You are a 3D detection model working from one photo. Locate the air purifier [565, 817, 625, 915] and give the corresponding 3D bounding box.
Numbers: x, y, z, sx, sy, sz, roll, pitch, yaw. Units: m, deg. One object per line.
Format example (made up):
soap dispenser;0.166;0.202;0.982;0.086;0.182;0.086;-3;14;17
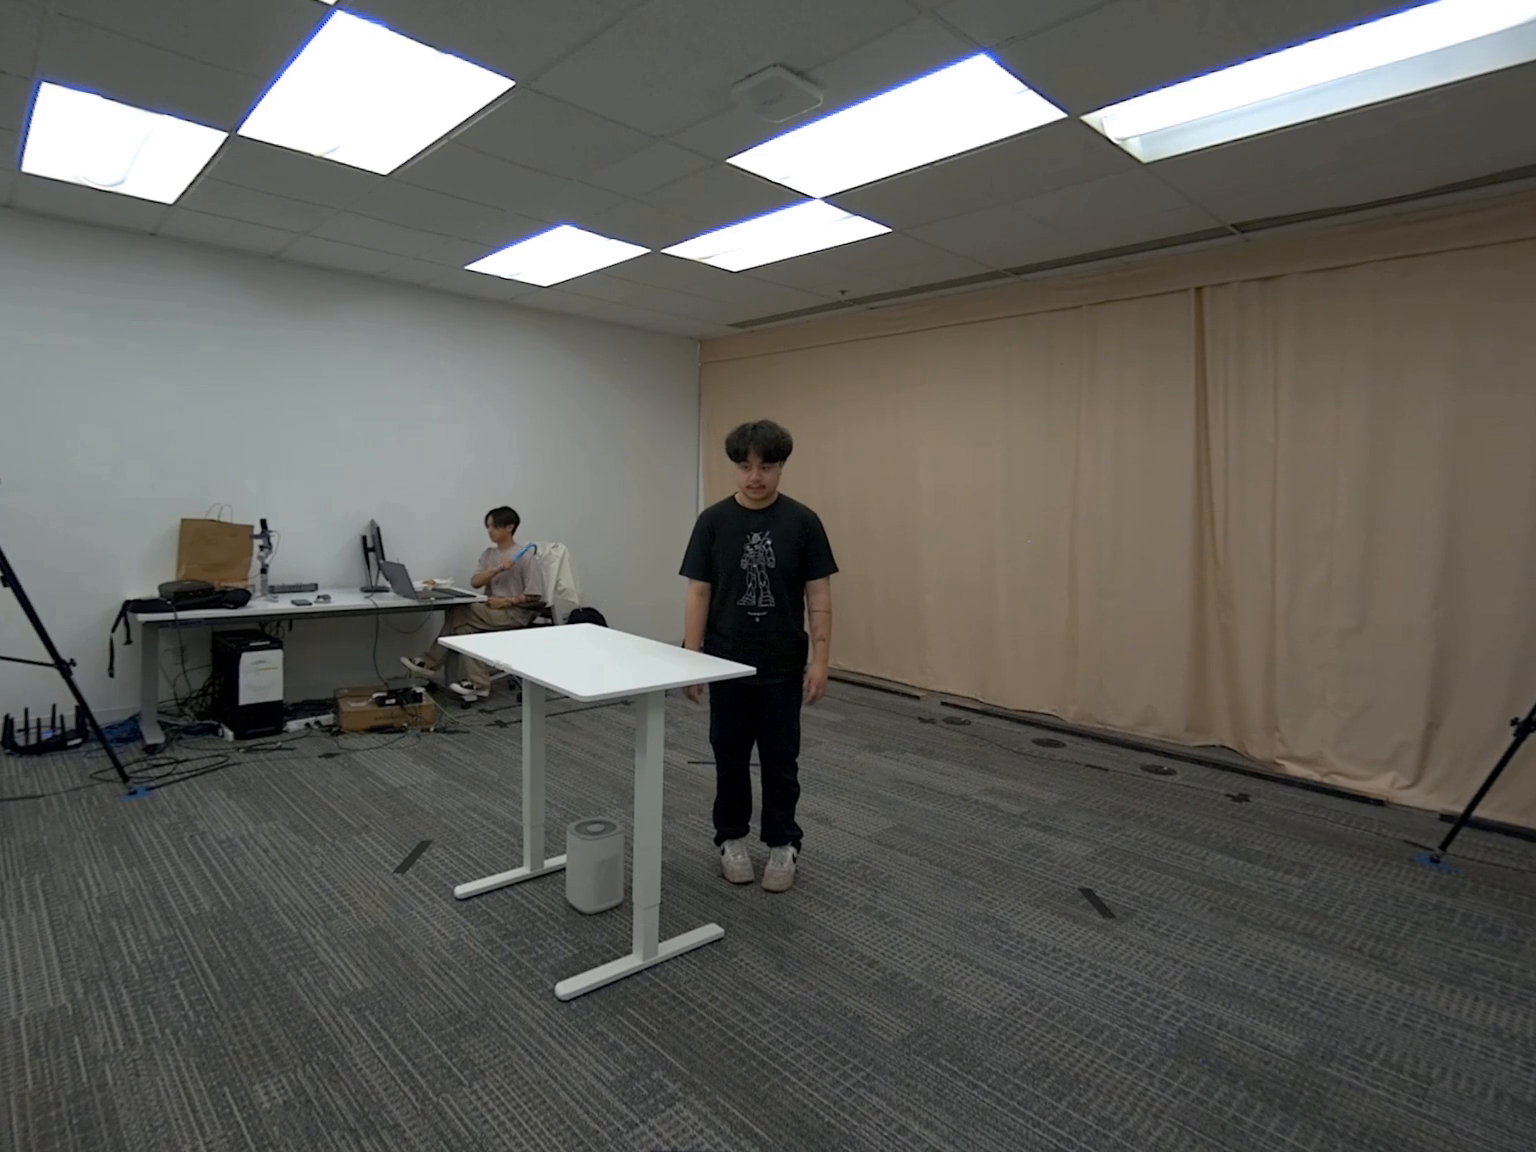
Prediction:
air purifier;-0.591;0.985;2.864;0.168;0.264;0.175;-2;6;-42
